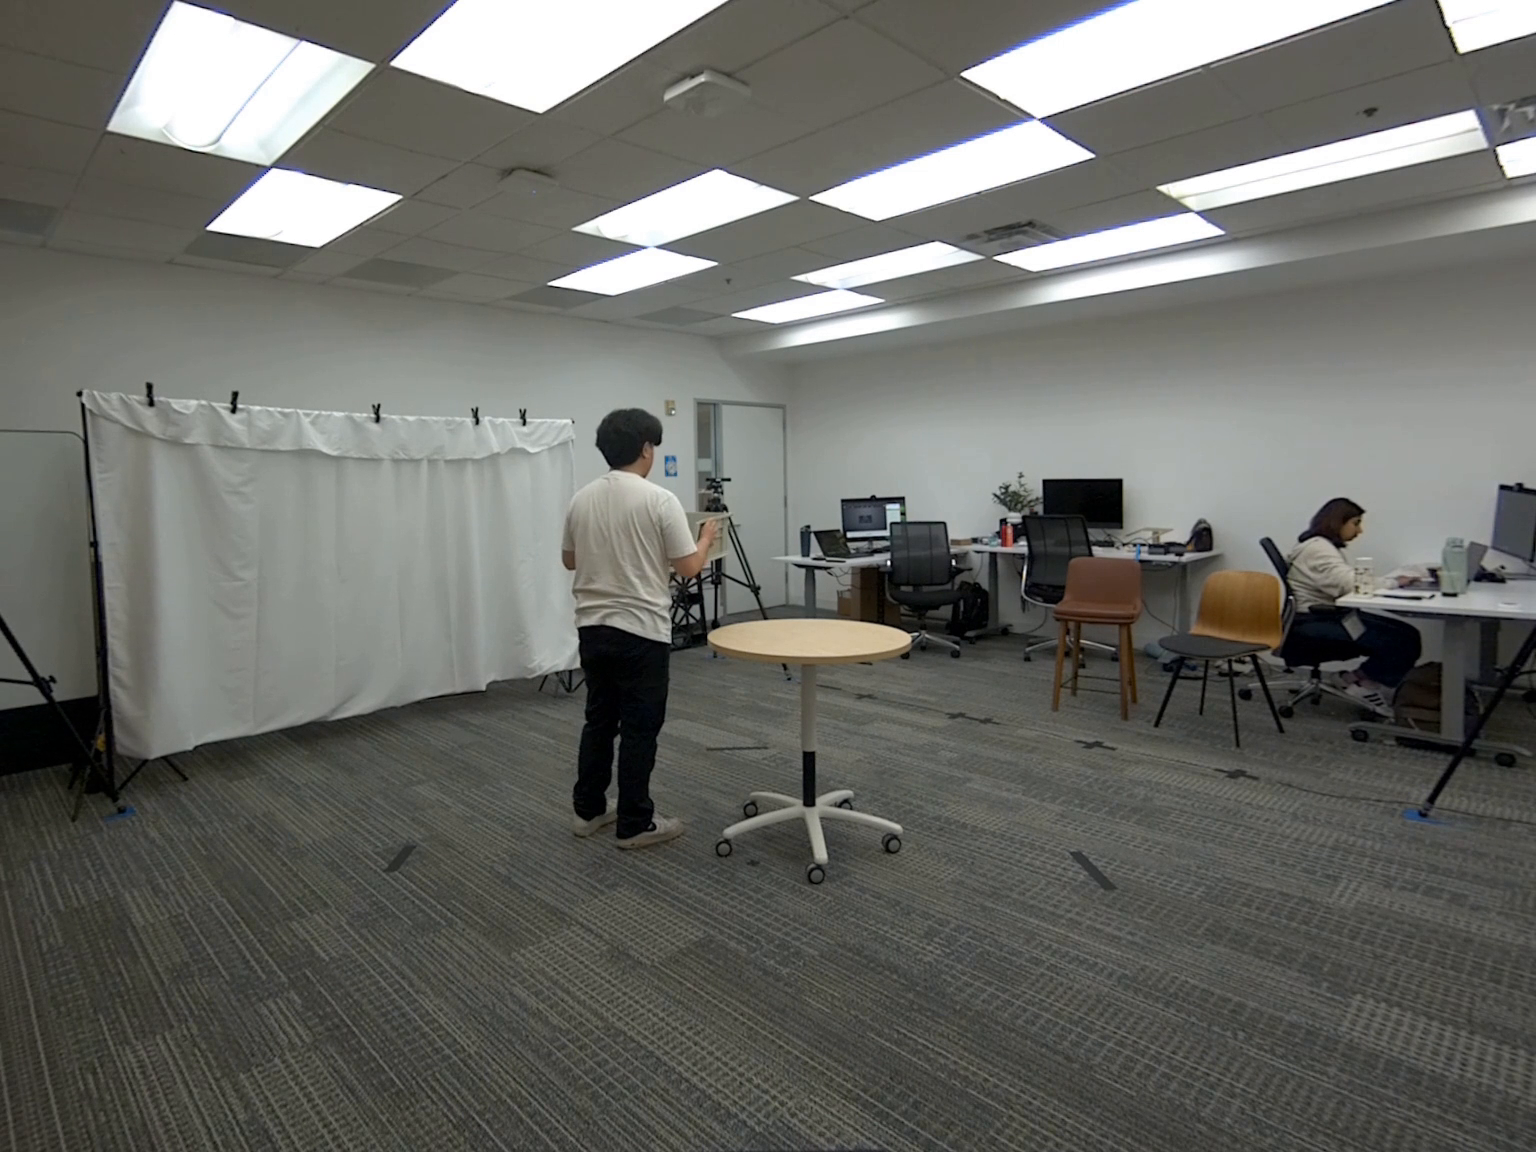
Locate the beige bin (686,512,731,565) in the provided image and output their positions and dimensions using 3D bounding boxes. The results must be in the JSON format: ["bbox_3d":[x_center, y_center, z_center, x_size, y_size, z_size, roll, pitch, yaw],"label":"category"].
[{"bbox_3d":[-0.412,-0.162,3.667,0.432,0.188,0.371,3,9,24],"label":"beige bin"}]
